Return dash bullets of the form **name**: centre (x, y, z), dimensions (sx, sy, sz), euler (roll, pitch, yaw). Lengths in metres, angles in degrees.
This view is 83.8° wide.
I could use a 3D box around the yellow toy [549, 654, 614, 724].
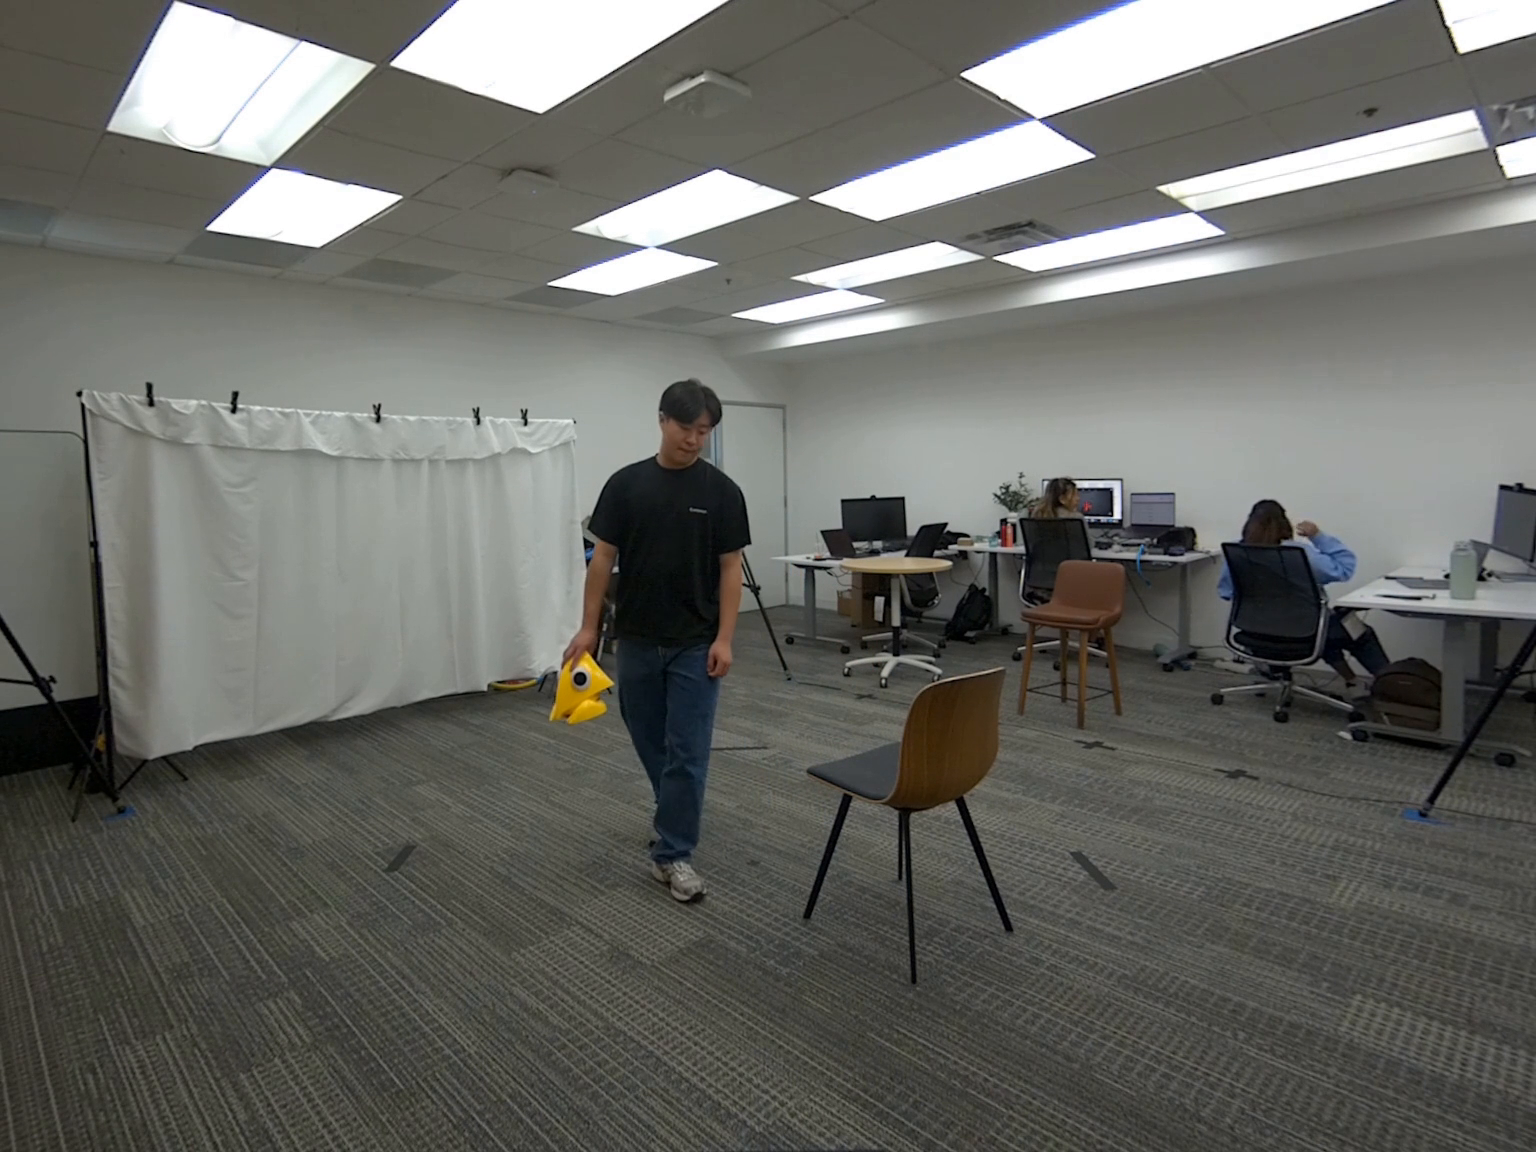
- **yellow toy**: centre (-0.657, 0.370, 2.937), dimensions (0.210, 0.229, 0.189), euler (-5, 9, 46)
